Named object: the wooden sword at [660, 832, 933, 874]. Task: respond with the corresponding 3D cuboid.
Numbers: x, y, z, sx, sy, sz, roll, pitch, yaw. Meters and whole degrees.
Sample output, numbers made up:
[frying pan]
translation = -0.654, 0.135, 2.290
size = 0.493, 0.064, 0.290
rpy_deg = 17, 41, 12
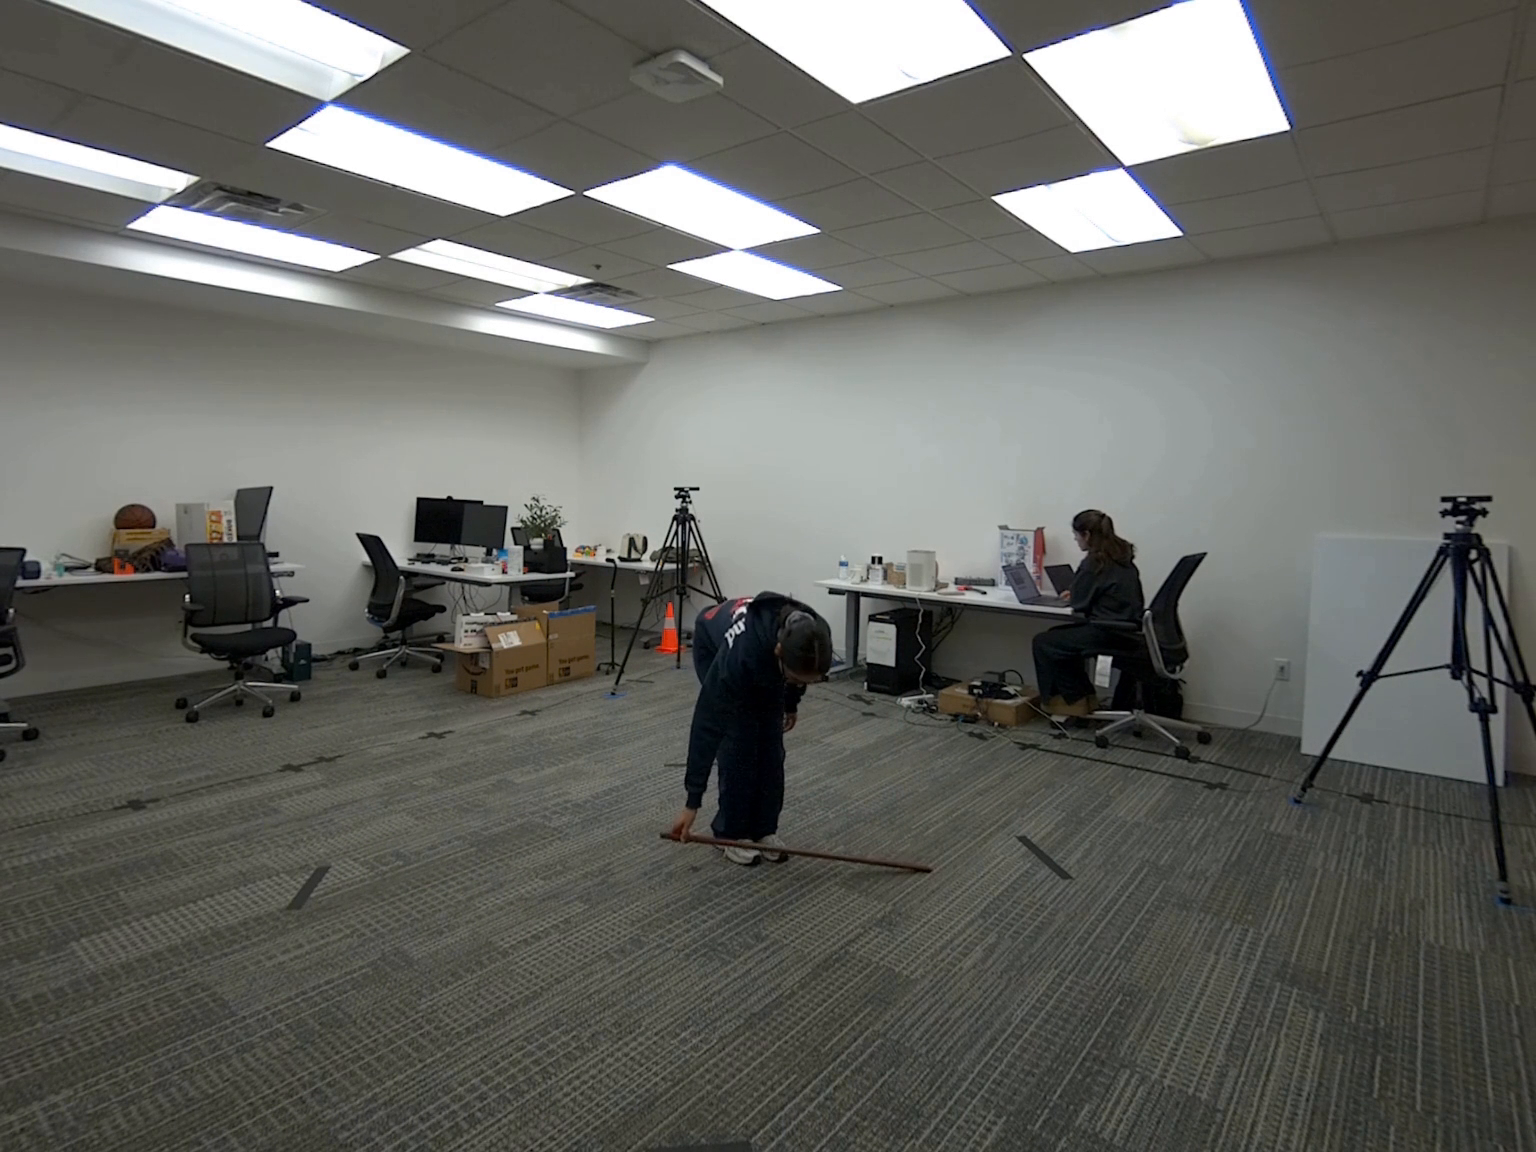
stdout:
[wooden sword]
translation = 0.113, 0.983, 3.034
size = 1.010, 0.024, 0.053
rpy_deg = 11, 39, -11
